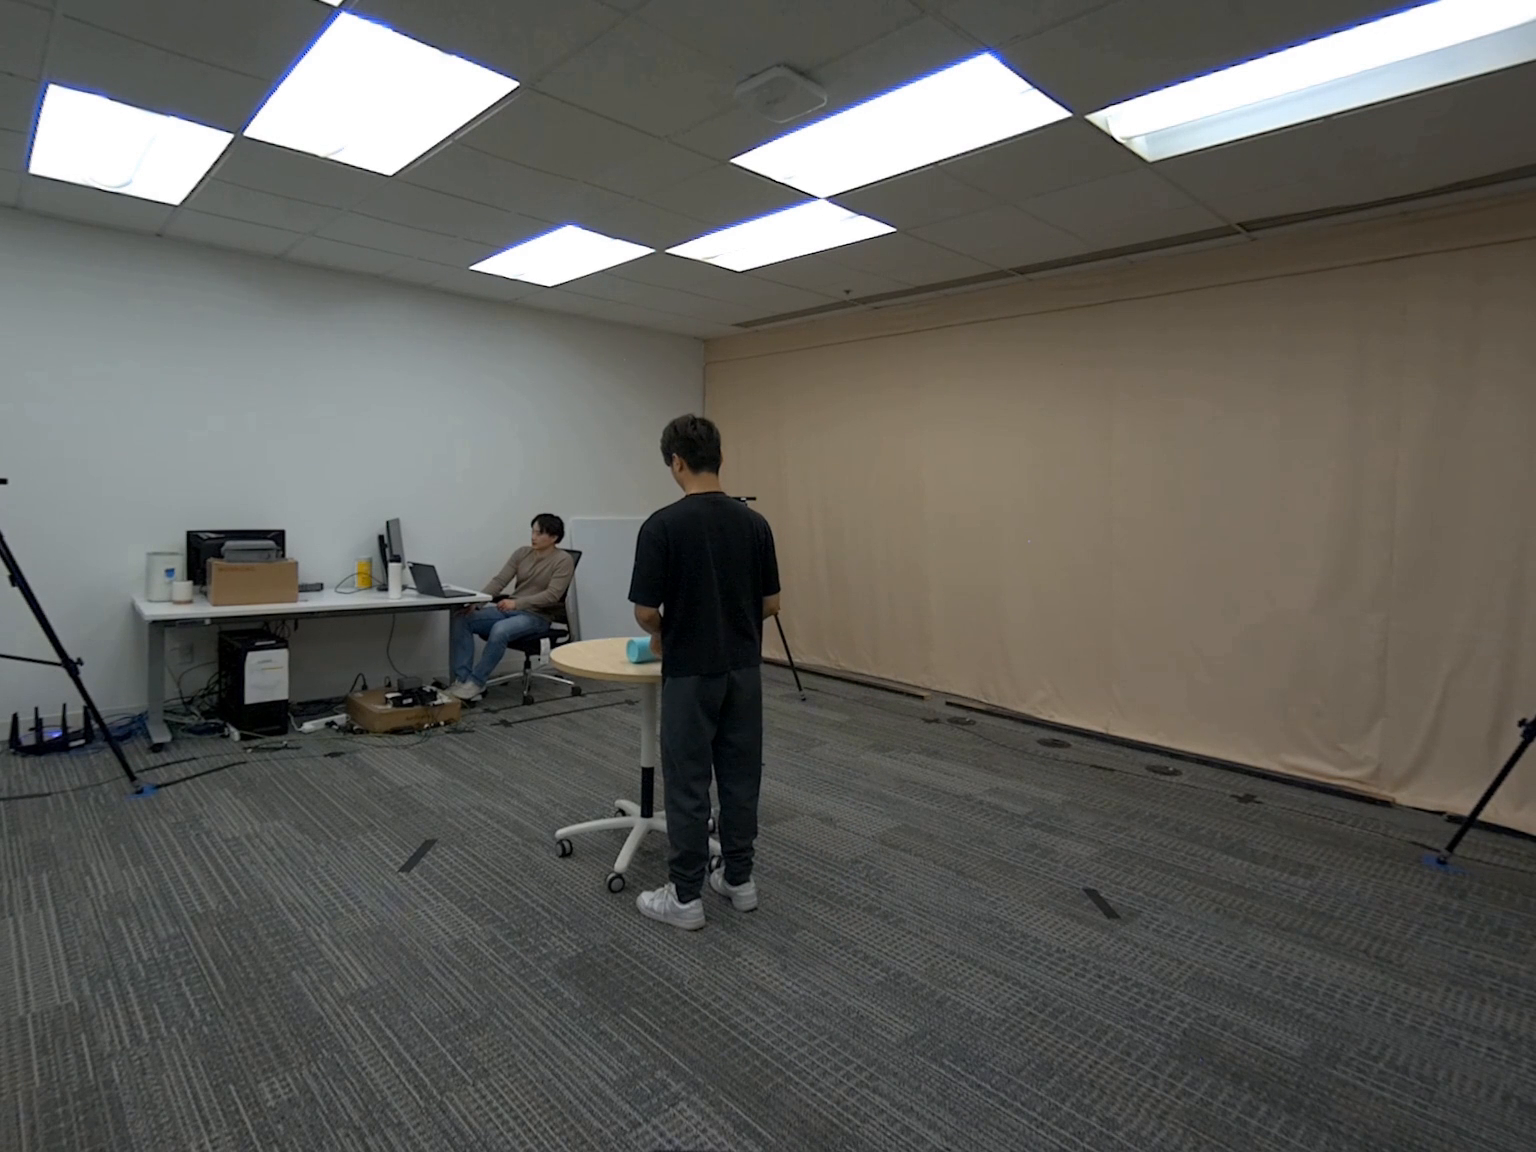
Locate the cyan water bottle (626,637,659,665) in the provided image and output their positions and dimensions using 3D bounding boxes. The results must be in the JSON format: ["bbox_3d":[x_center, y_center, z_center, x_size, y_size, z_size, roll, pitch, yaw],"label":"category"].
[{"bbox_3d":[-0.392,0.268,3.157,0.277,0.092,0.095,-3,6,-40],"label":"cyan water bottle"}]
